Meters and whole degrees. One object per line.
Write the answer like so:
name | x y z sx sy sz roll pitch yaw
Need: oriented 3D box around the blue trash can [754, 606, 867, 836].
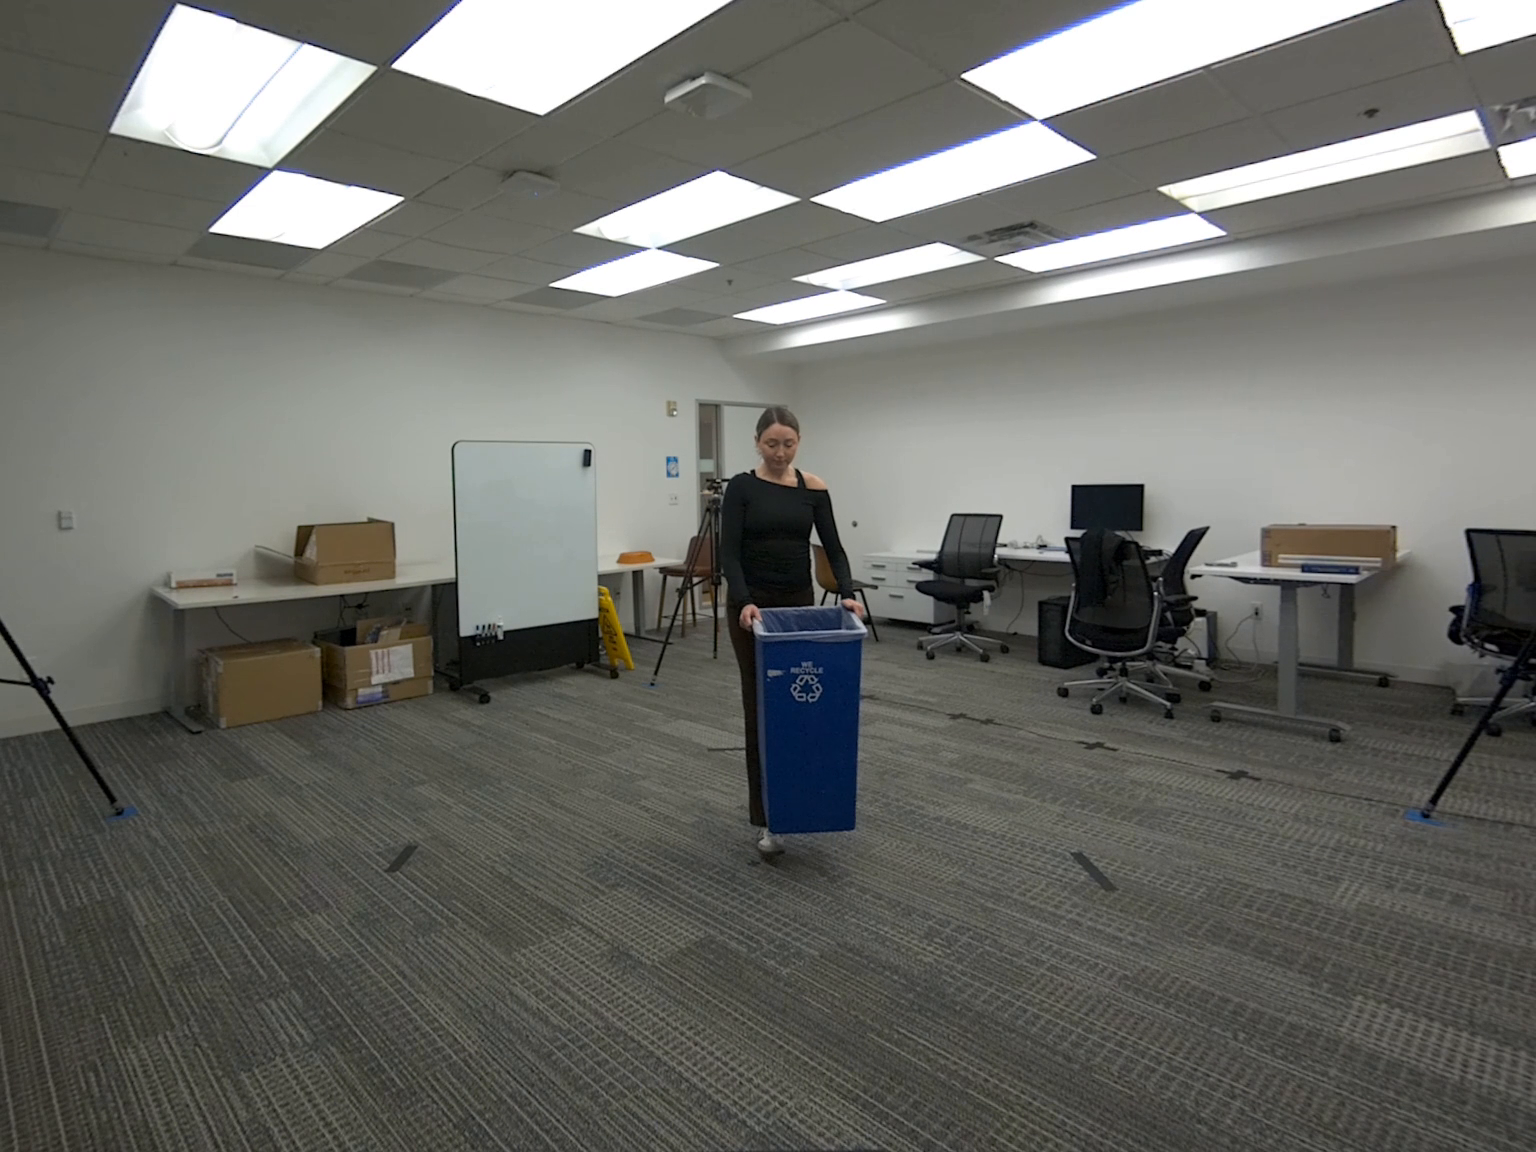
blue trash can | 0.143 0.507 3.025 0.373 0.707 0.382 -2 10 -3
